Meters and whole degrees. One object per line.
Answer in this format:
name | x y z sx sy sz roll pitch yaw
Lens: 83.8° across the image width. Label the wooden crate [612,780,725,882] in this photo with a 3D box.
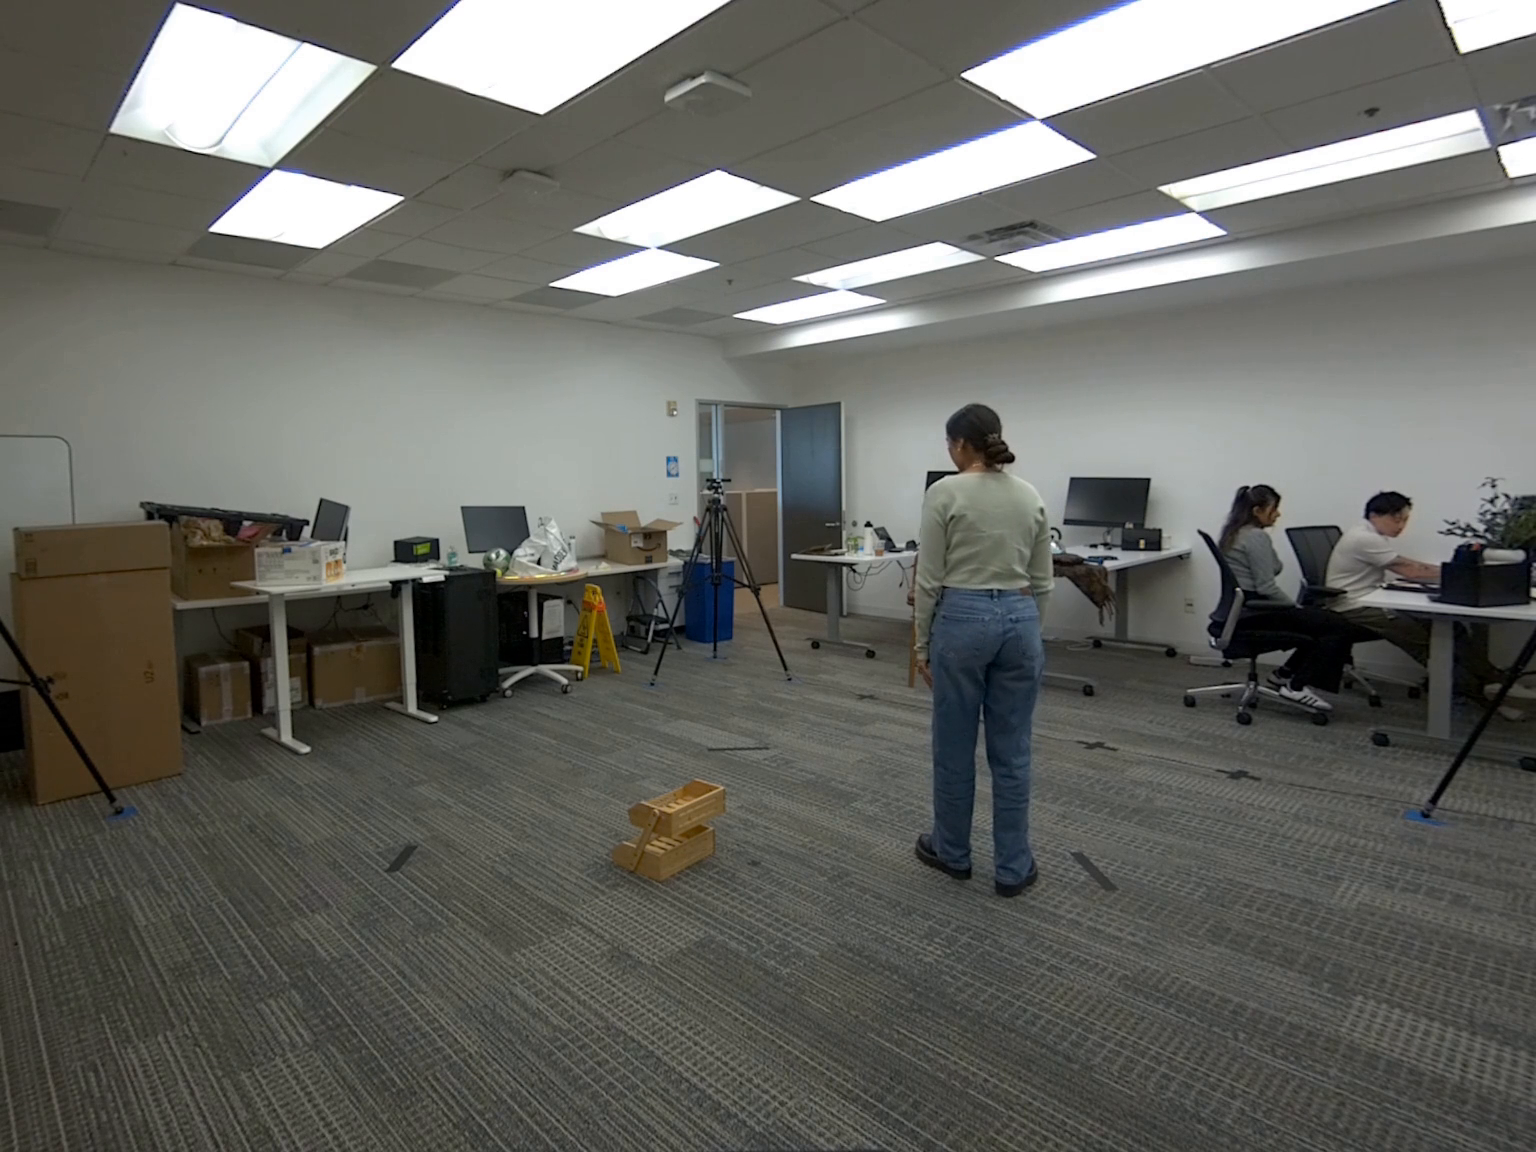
wooden crate | -0.363 0.911 3.142 0.311 0.272 0.316 4 7 38
